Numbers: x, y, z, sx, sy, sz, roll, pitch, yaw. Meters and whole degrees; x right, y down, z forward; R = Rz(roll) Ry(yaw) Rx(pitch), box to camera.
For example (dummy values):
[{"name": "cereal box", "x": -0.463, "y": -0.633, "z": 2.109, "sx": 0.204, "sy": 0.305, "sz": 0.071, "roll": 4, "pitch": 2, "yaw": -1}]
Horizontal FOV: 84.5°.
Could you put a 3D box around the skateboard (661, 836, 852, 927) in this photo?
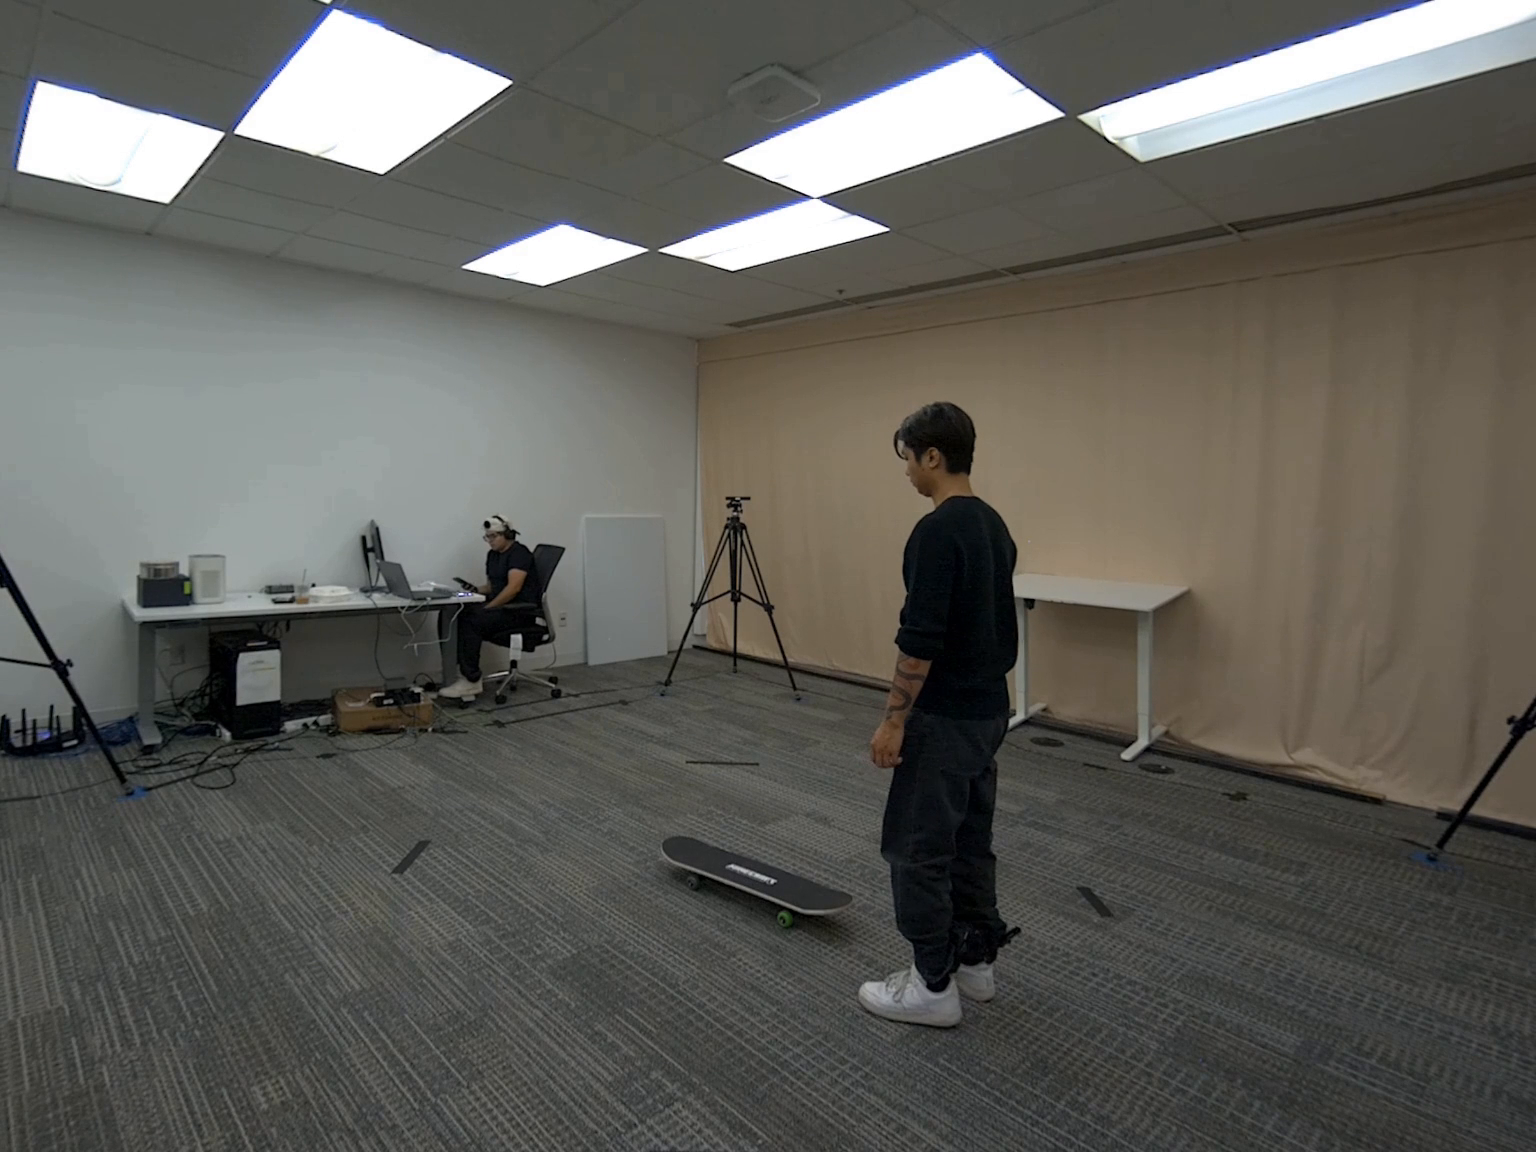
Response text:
[{"name": "skateboard", "x": -0.067, "y": 1.069, "z": 2.920, "sx": 0.805, "sy": 0.110, "sz": 0.189, "roll": 5, "pitch": 6, "yaw": 37}]
